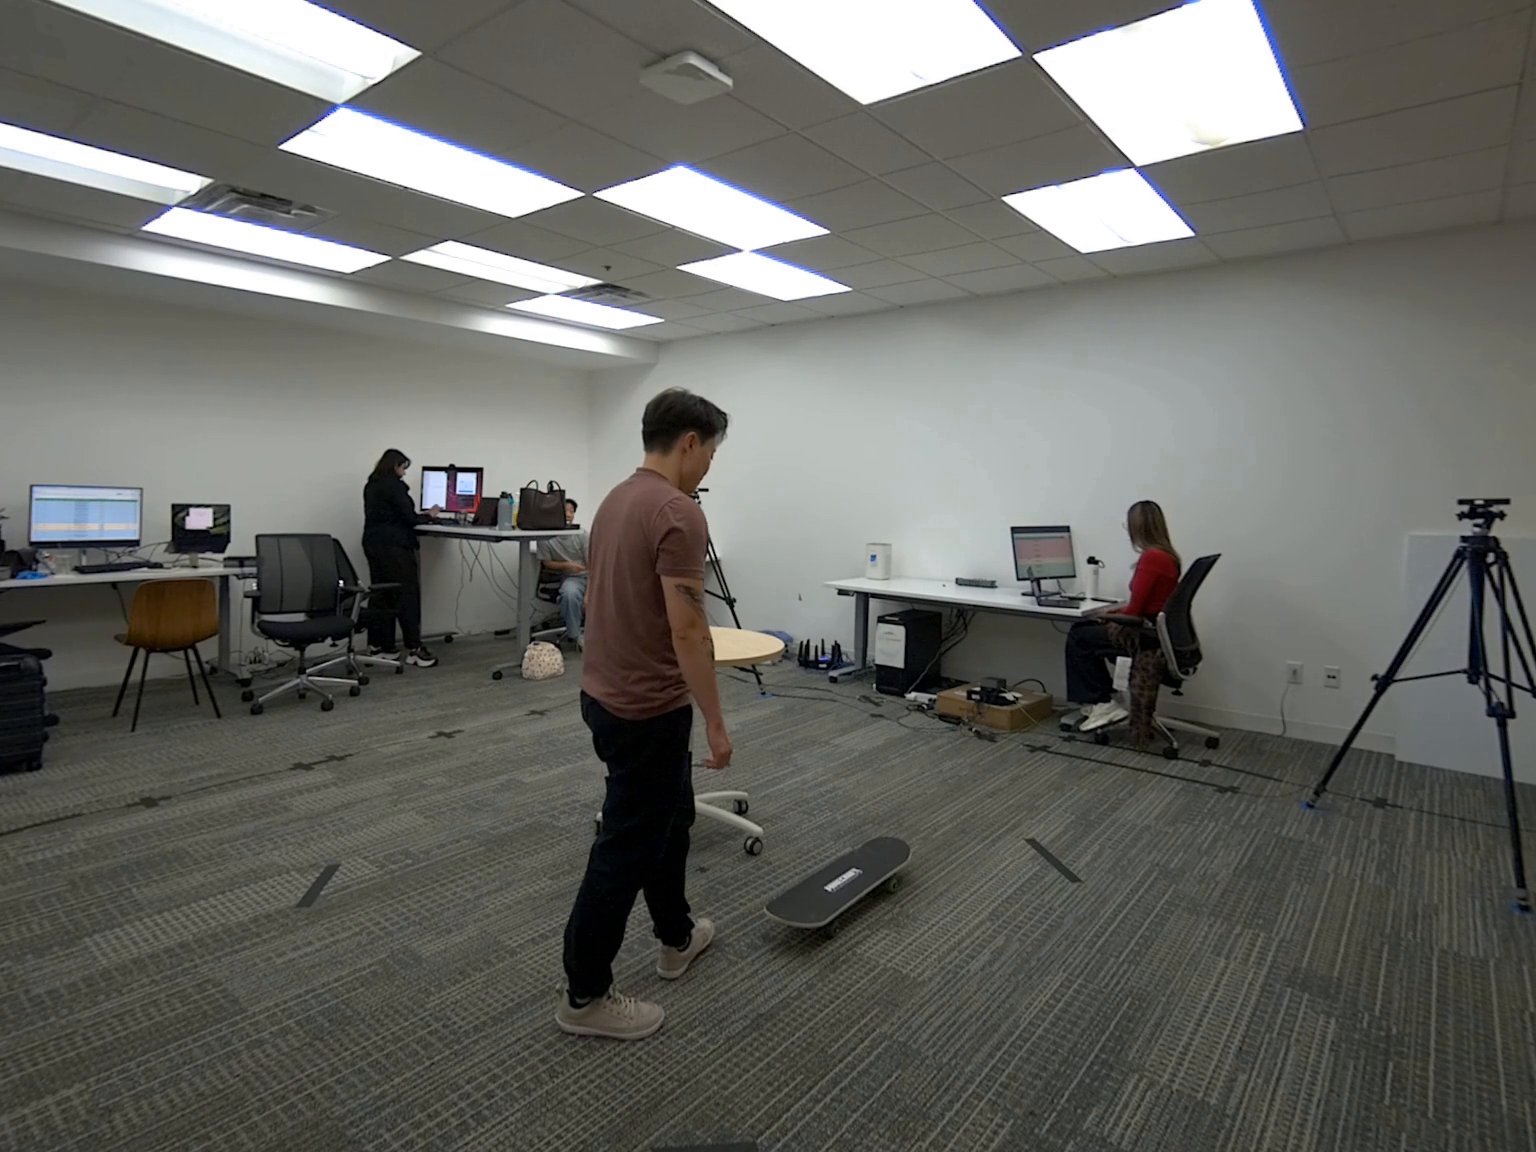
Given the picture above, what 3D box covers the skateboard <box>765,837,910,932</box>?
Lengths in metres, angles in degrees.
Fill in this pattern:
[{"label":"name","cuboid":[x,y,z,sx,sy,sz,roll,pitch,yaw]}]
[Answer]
[{"label":"skateboard","cuboid":[0.251,1.051,2.855,0.200,0.110,0.763,6,7,36]}]
